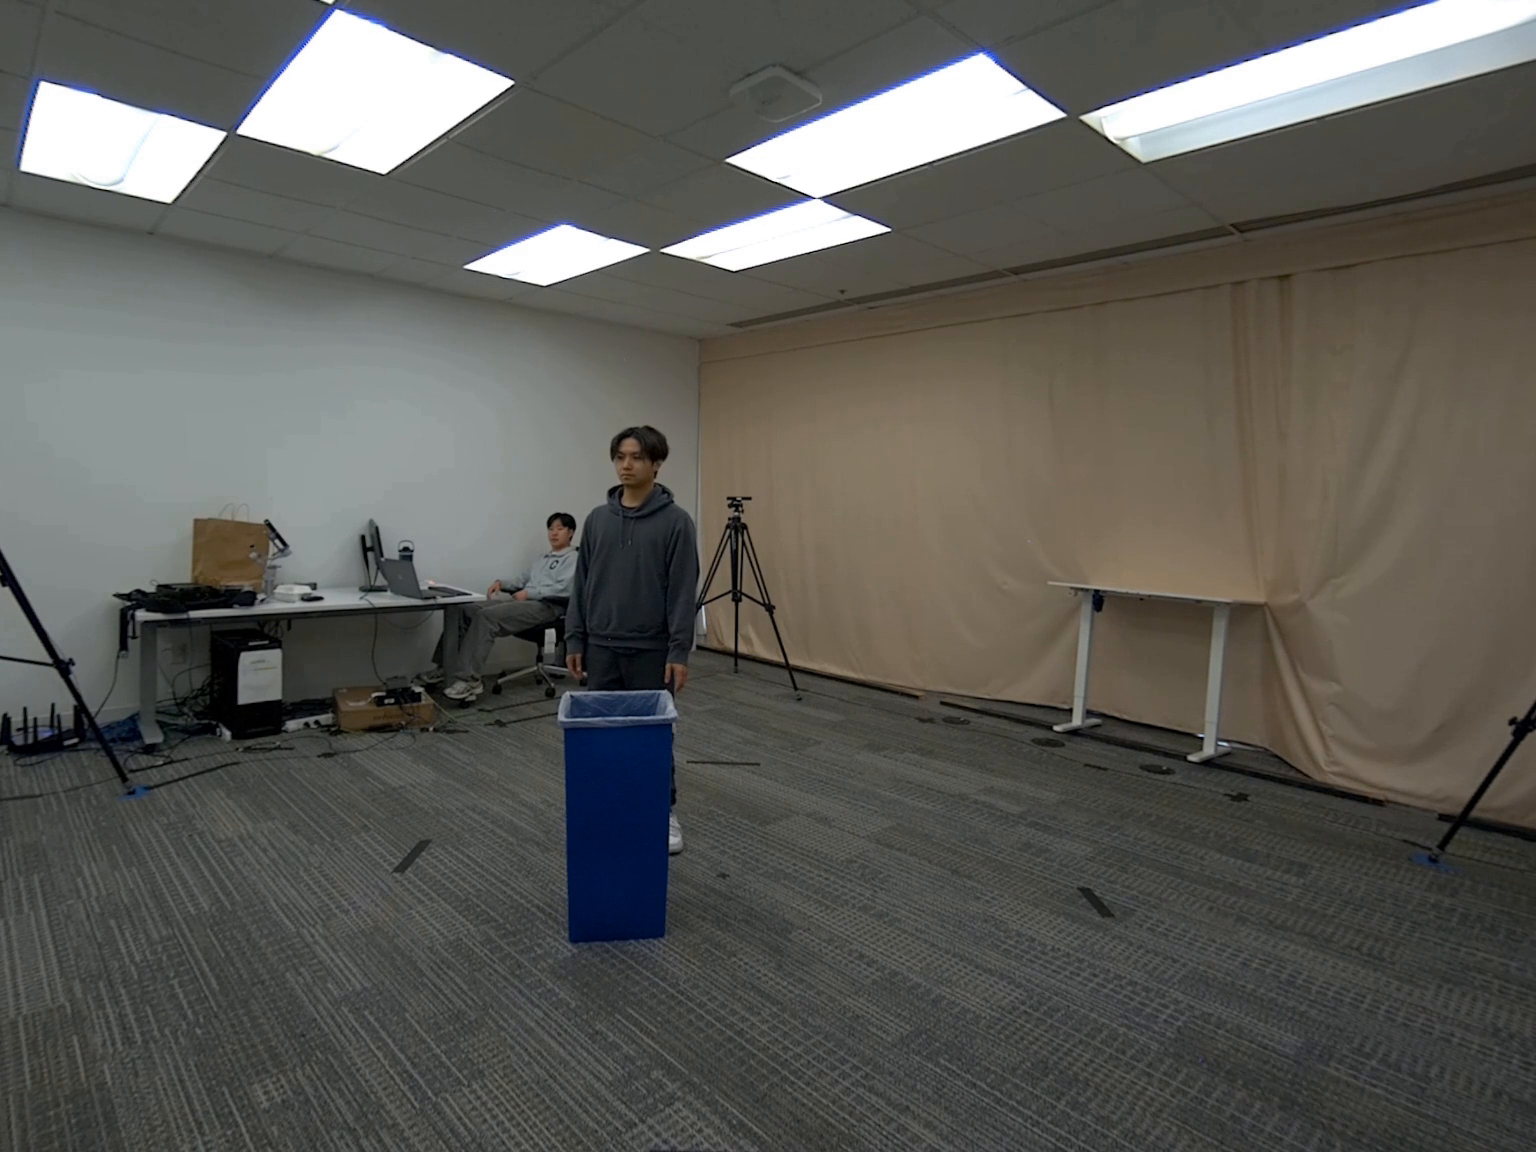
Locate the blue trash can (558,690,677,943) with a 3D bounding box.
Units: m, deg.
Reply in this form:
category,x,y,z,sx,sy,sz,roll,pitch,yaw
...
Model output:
category,x,y,z,sx,sy,sz,roll,pitch,yaw
blue trash can,-0.508,0.772,2.758,0.371,0.712,0.382,1,3,-10
